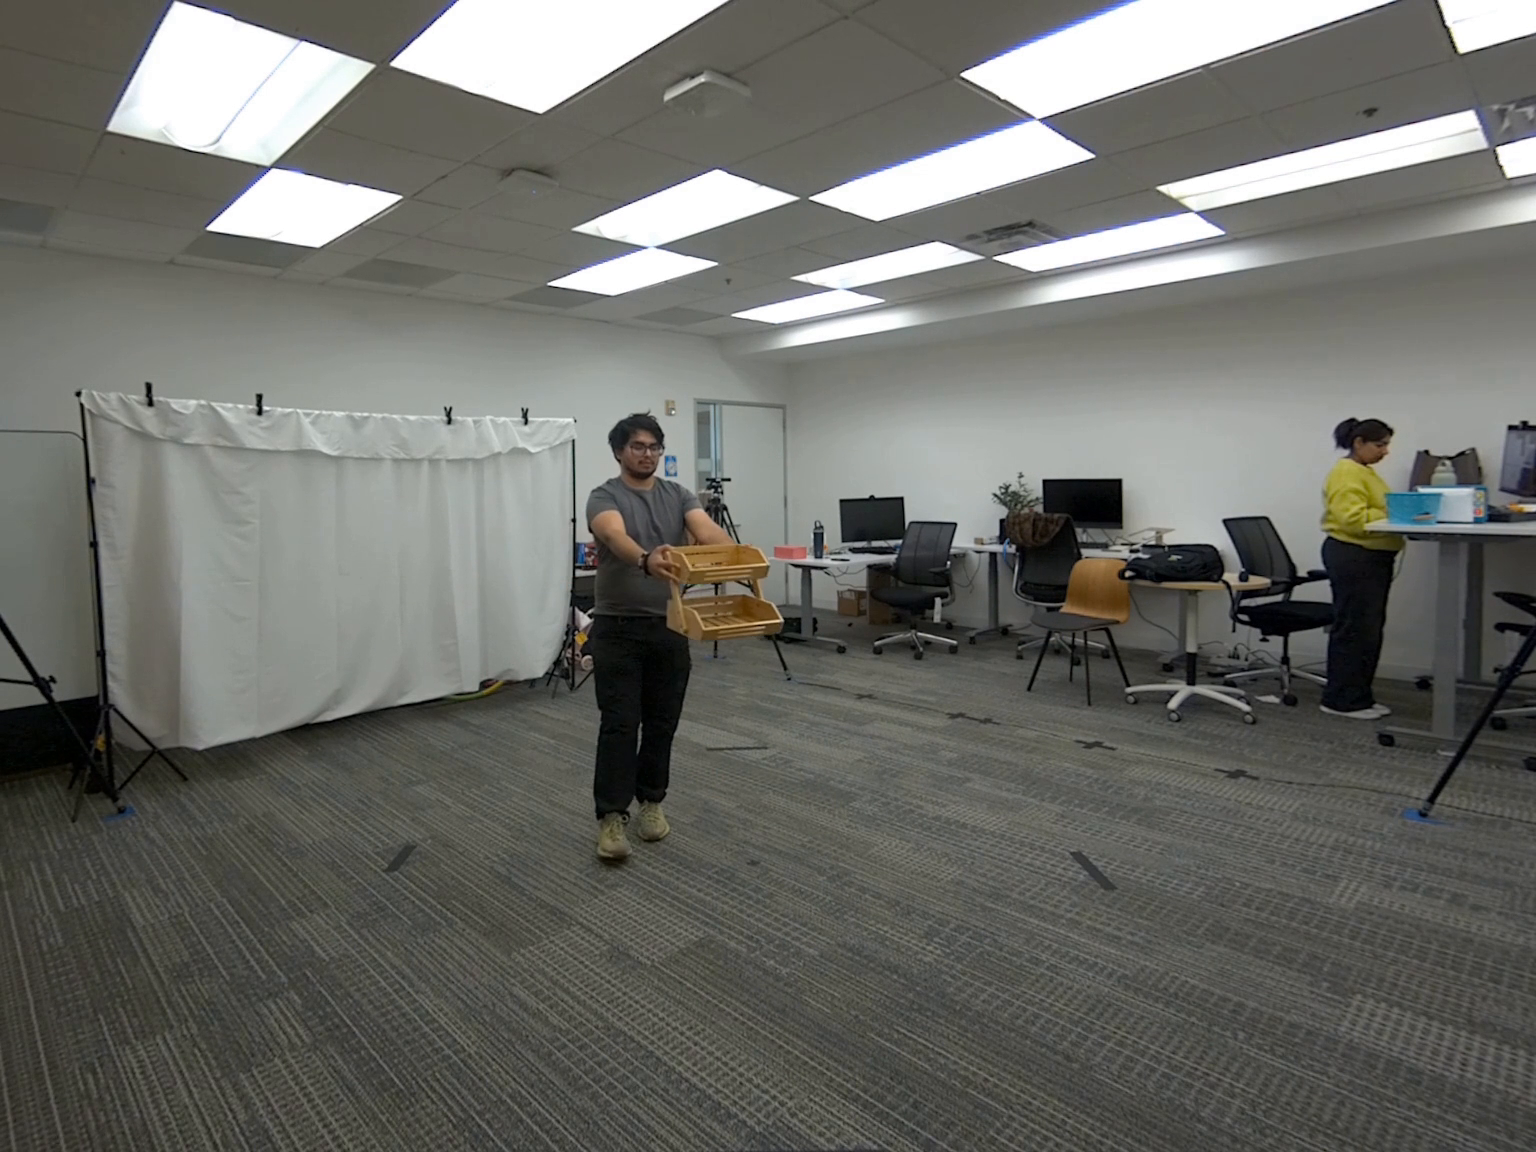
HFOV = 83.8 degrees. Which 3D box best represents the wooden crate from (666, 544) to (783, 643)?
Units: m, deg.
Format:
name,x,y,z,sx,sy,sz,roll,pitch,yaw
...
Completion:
name,x,y,z,sx,sy,sz,roll,pitch,yaw
wooden crate,-0.159,0.049,2.818,0.316,0.271,0.311,-4,10,-33
